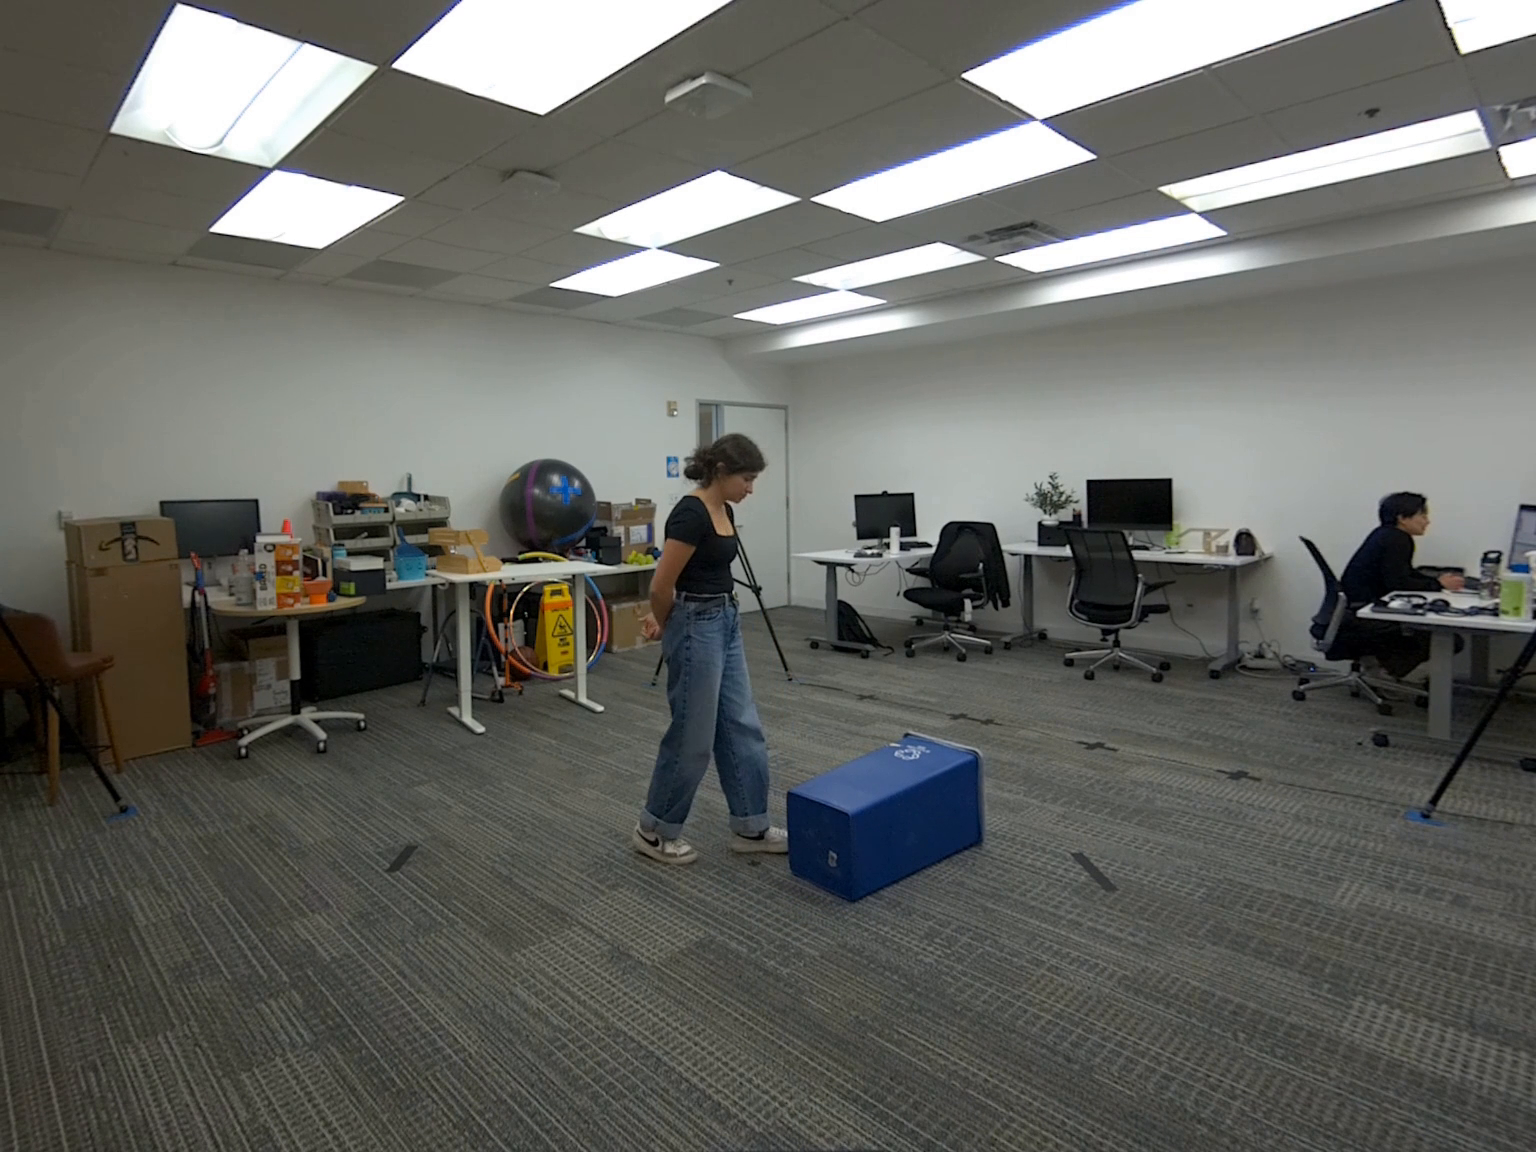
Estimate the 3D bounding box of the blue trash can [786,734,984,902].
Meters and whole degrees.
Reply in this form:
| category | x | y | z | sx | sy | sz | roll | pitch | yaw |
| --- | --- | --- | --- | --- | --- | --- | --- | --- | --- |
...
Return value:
| category | x | y | z | sx | sy | sz | roll | pitch | yaw |
| --- | --- | --- | --- | --- | --- | --- | --- | --- | --- |
| blue trash can | 0.437 | 0.869 | 3.117 | 0.696 | 0.376 | 0.386 | -10 | 10 | -42 |
